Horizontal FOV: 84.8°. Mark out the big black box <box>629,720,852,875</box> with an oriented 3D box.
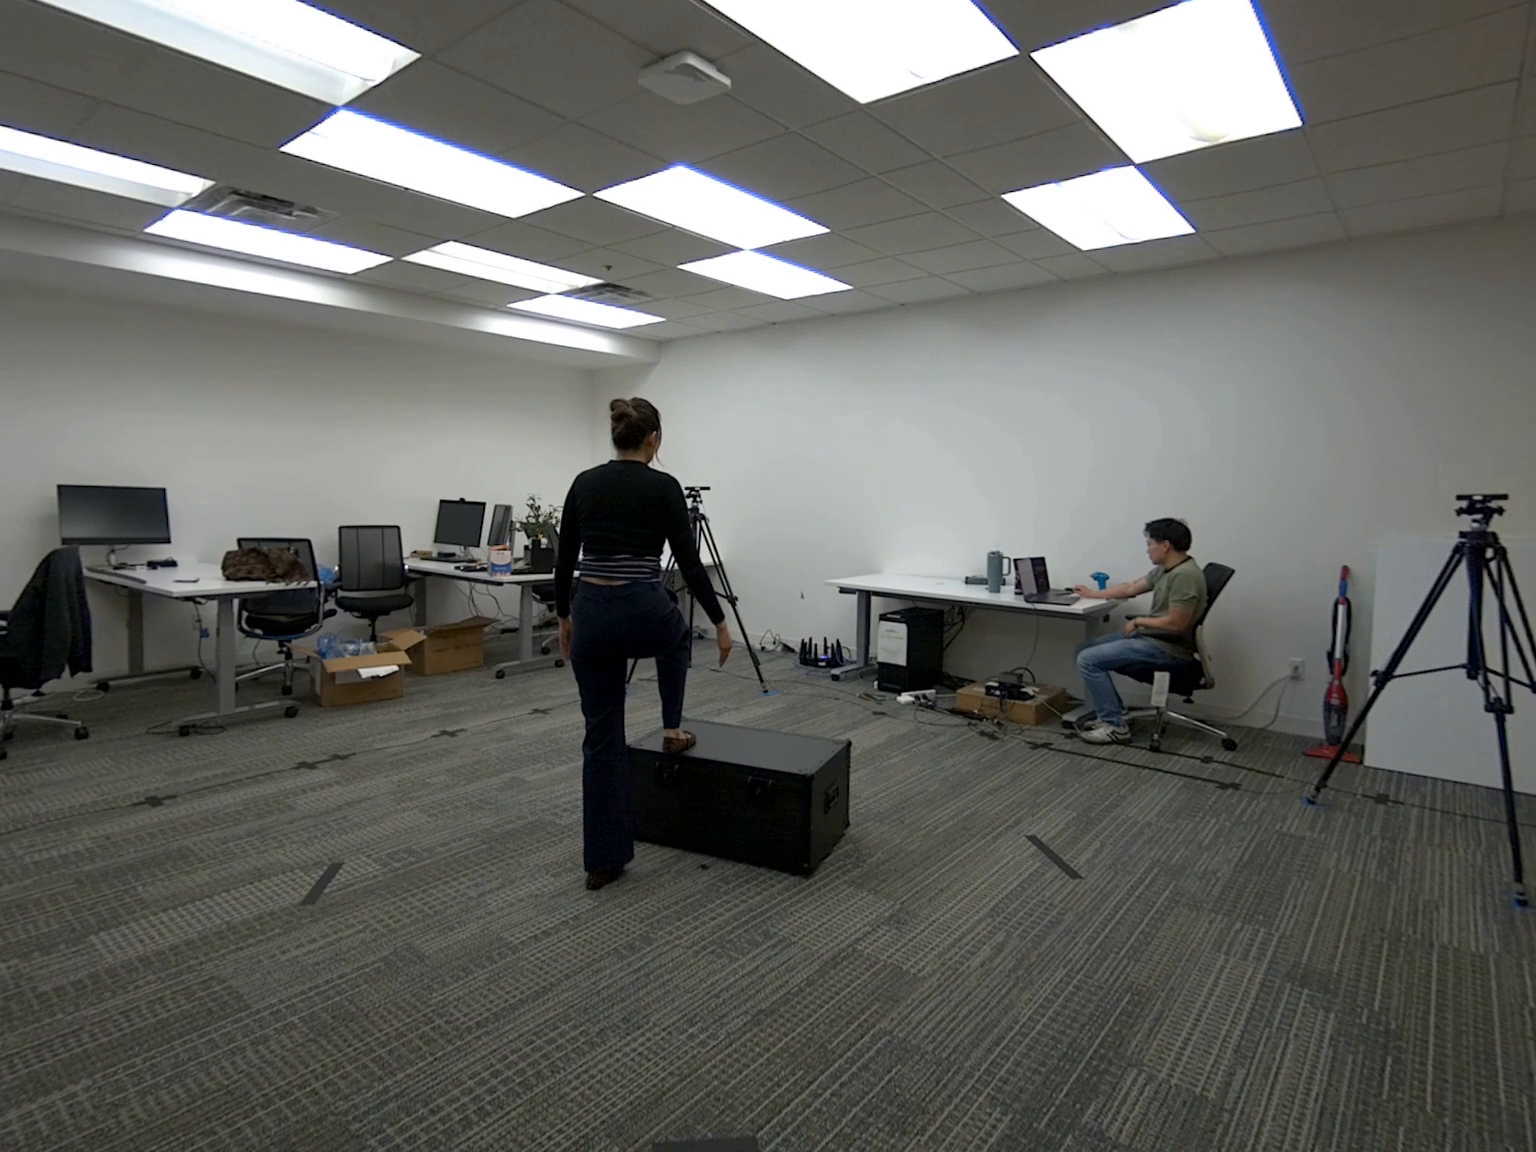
[{"bbox_3d":[-0.153,0.849,3.413,0.883,0.394,0.511,3,6,24],"label":"big black box"}]
